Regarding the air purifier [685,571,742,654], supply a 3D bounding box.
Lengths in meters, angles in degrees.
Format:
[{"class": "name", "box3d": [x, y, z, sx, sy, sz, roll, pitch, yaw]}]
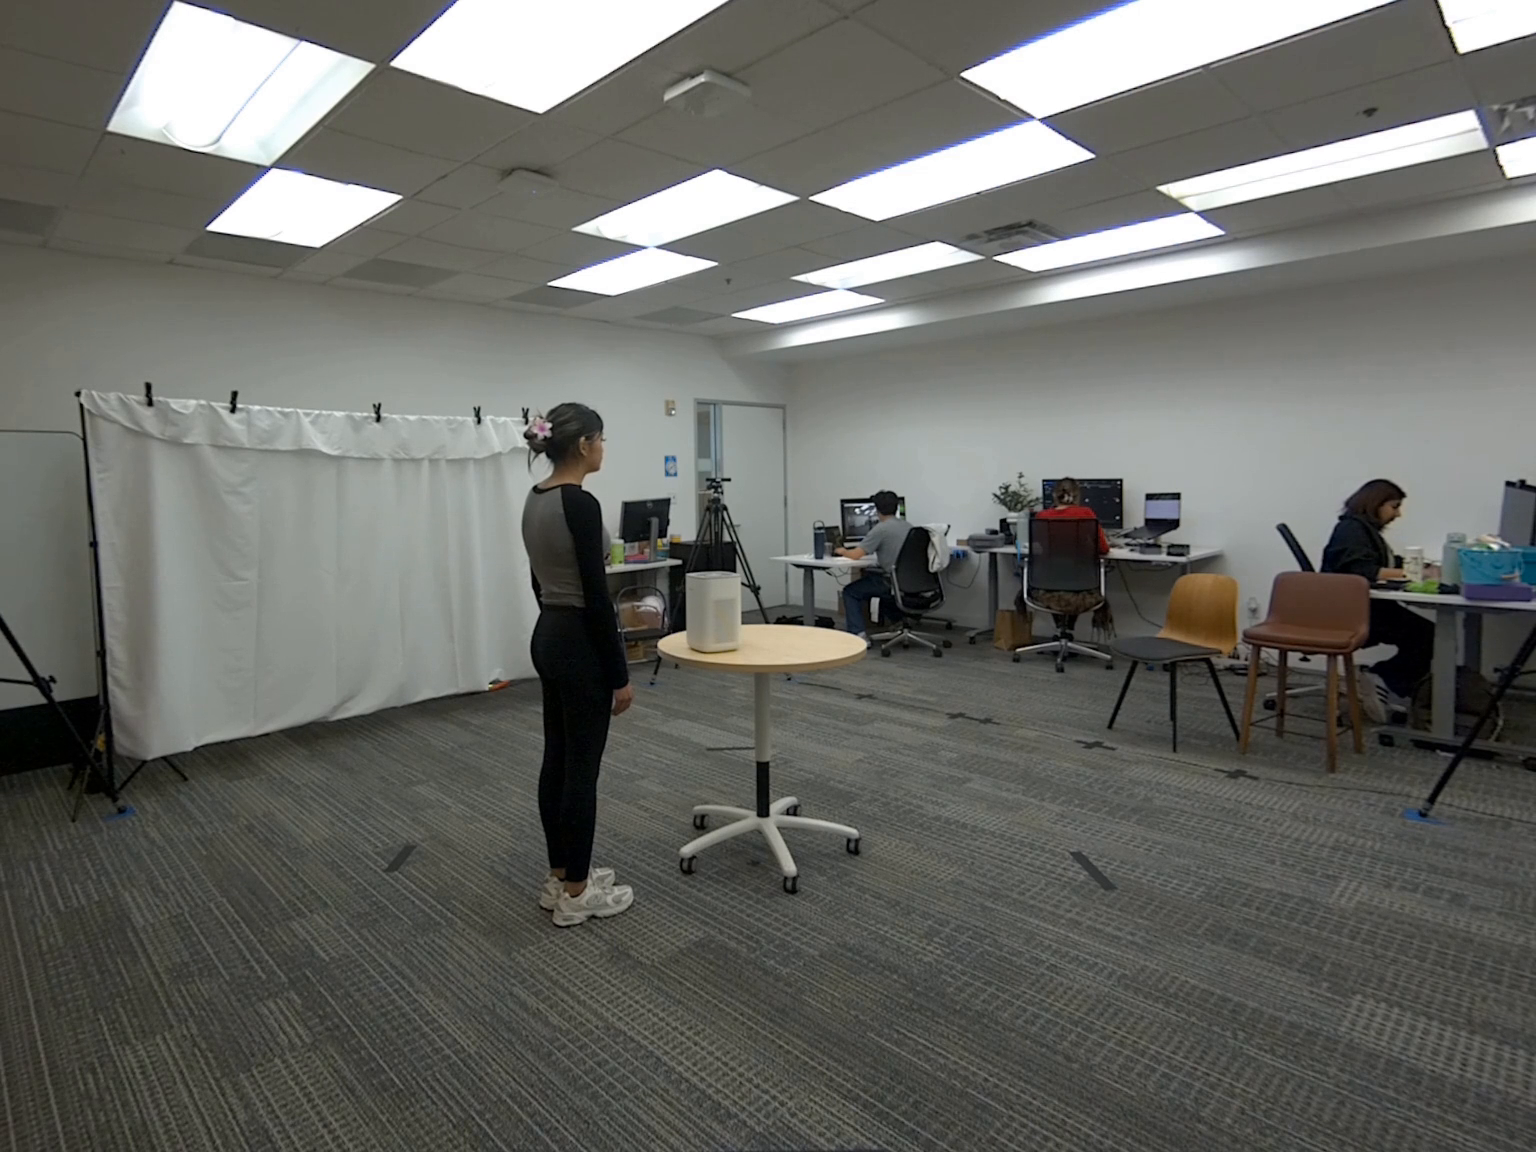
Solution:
[{"class": "air purifier", "box3d": [-0.188, 0.121, 3.020, 0.167, 0.264, 0.176, -3, 6, -29]}]
